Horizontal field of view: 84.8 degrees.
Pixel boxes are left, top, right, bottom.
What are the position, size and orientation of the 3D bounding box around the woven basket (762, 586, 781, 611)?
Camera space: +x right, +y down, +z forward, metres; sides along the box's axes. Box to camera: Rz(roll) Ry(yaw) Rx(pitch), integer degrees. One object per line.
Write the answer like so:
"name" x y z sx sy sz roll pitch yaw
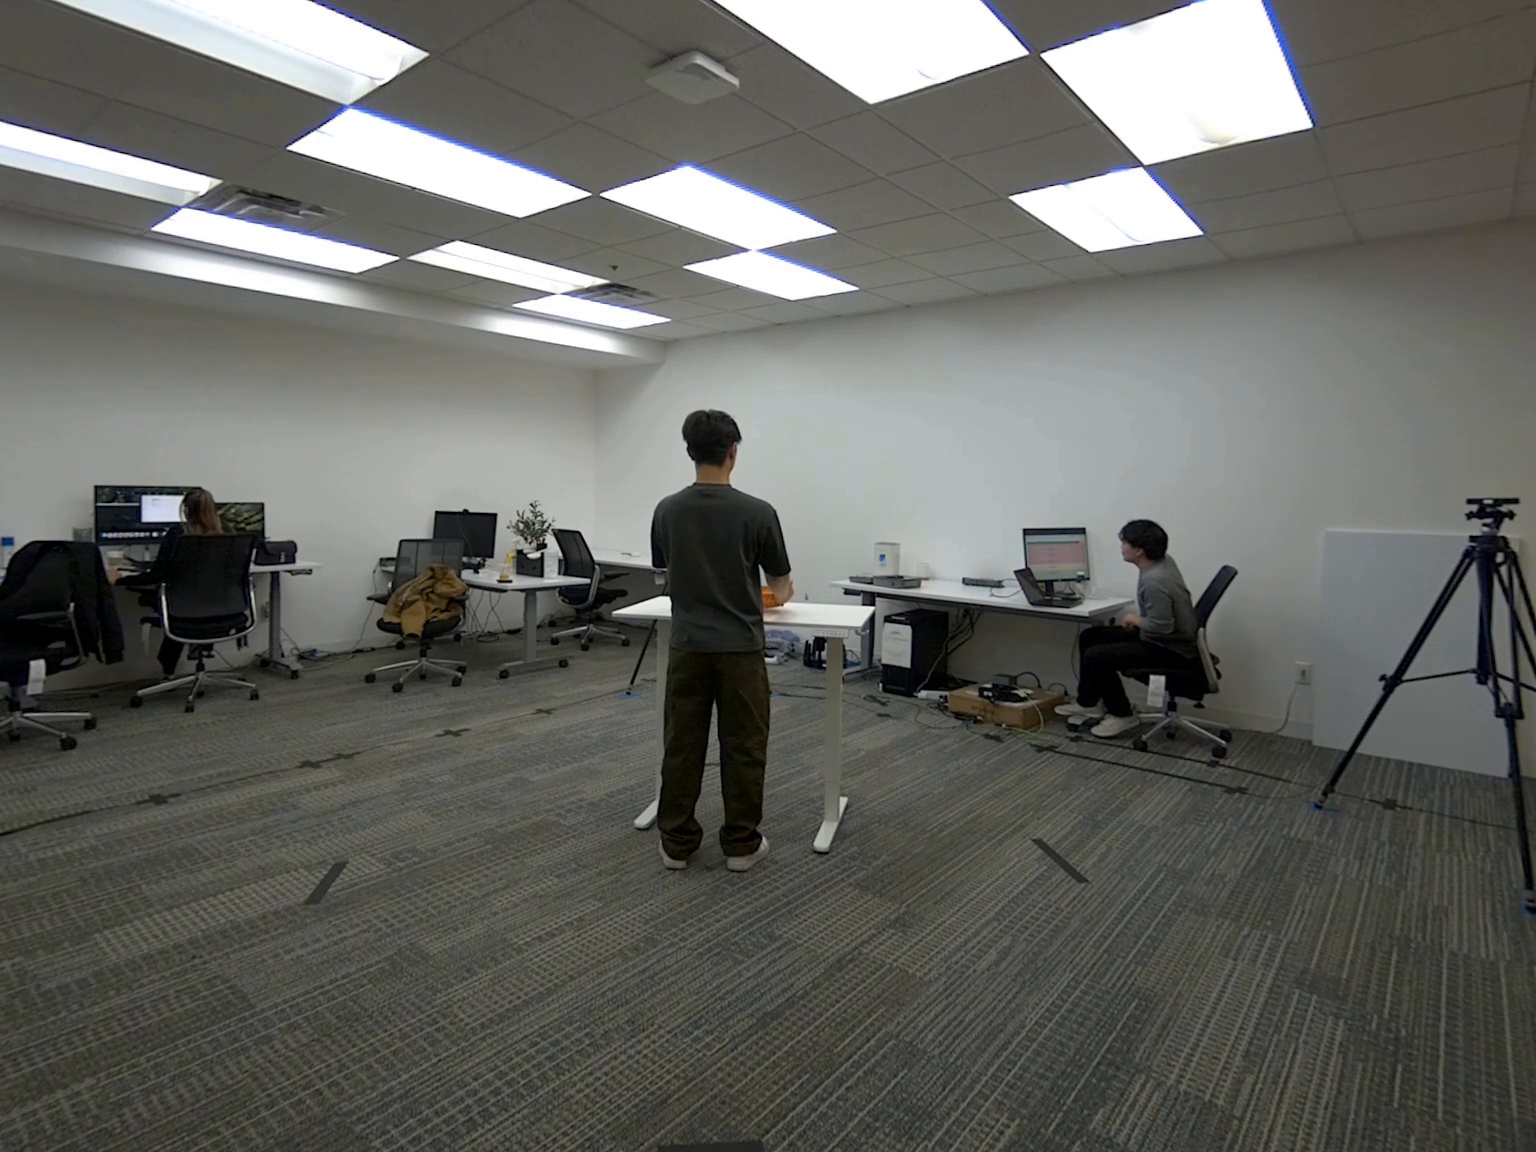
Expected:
"woven basket" -0.084 0.084 3.584 0.359 0.073 0.247 2 5 22
